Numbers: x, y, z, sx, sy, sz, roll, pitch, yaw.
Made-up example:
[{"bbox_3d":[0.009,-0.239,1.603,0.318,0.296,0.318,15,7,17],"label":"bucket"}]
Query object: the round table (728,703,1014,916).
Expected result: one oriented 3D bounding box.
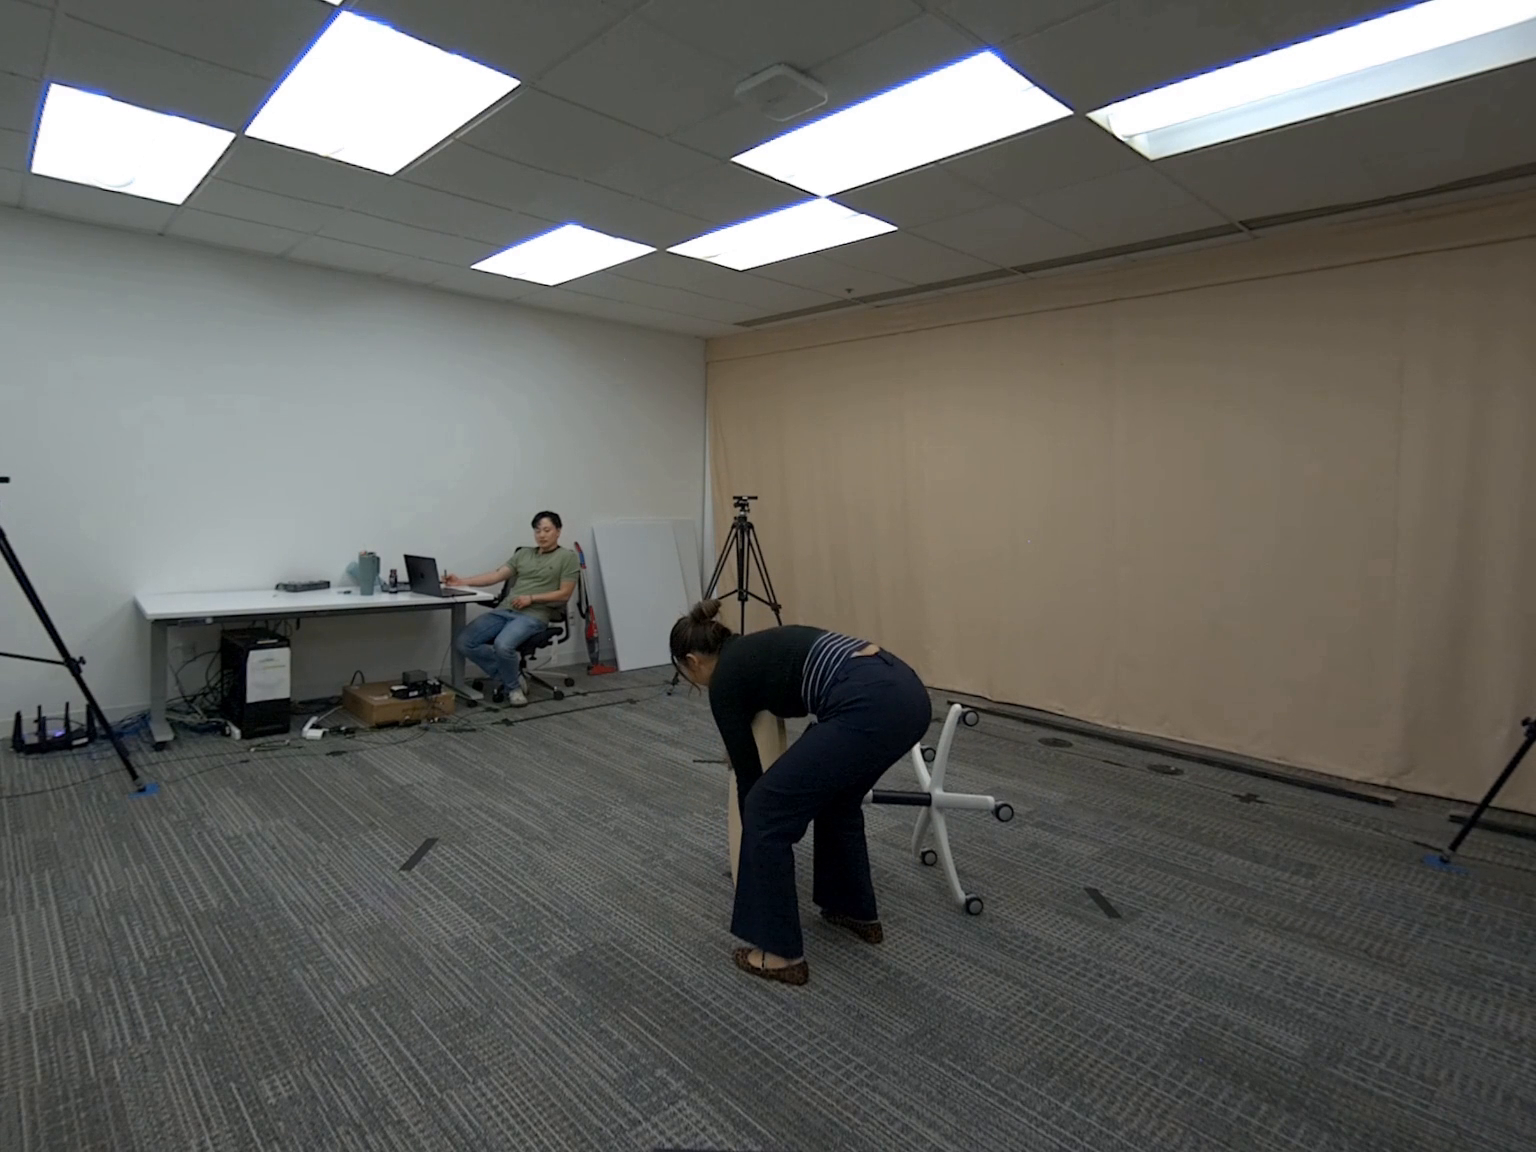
[{"bbox_3d":[0.326,0.788,2.982,0.787,0.762,0.772,7,3,-11],"label":"round table"}]
